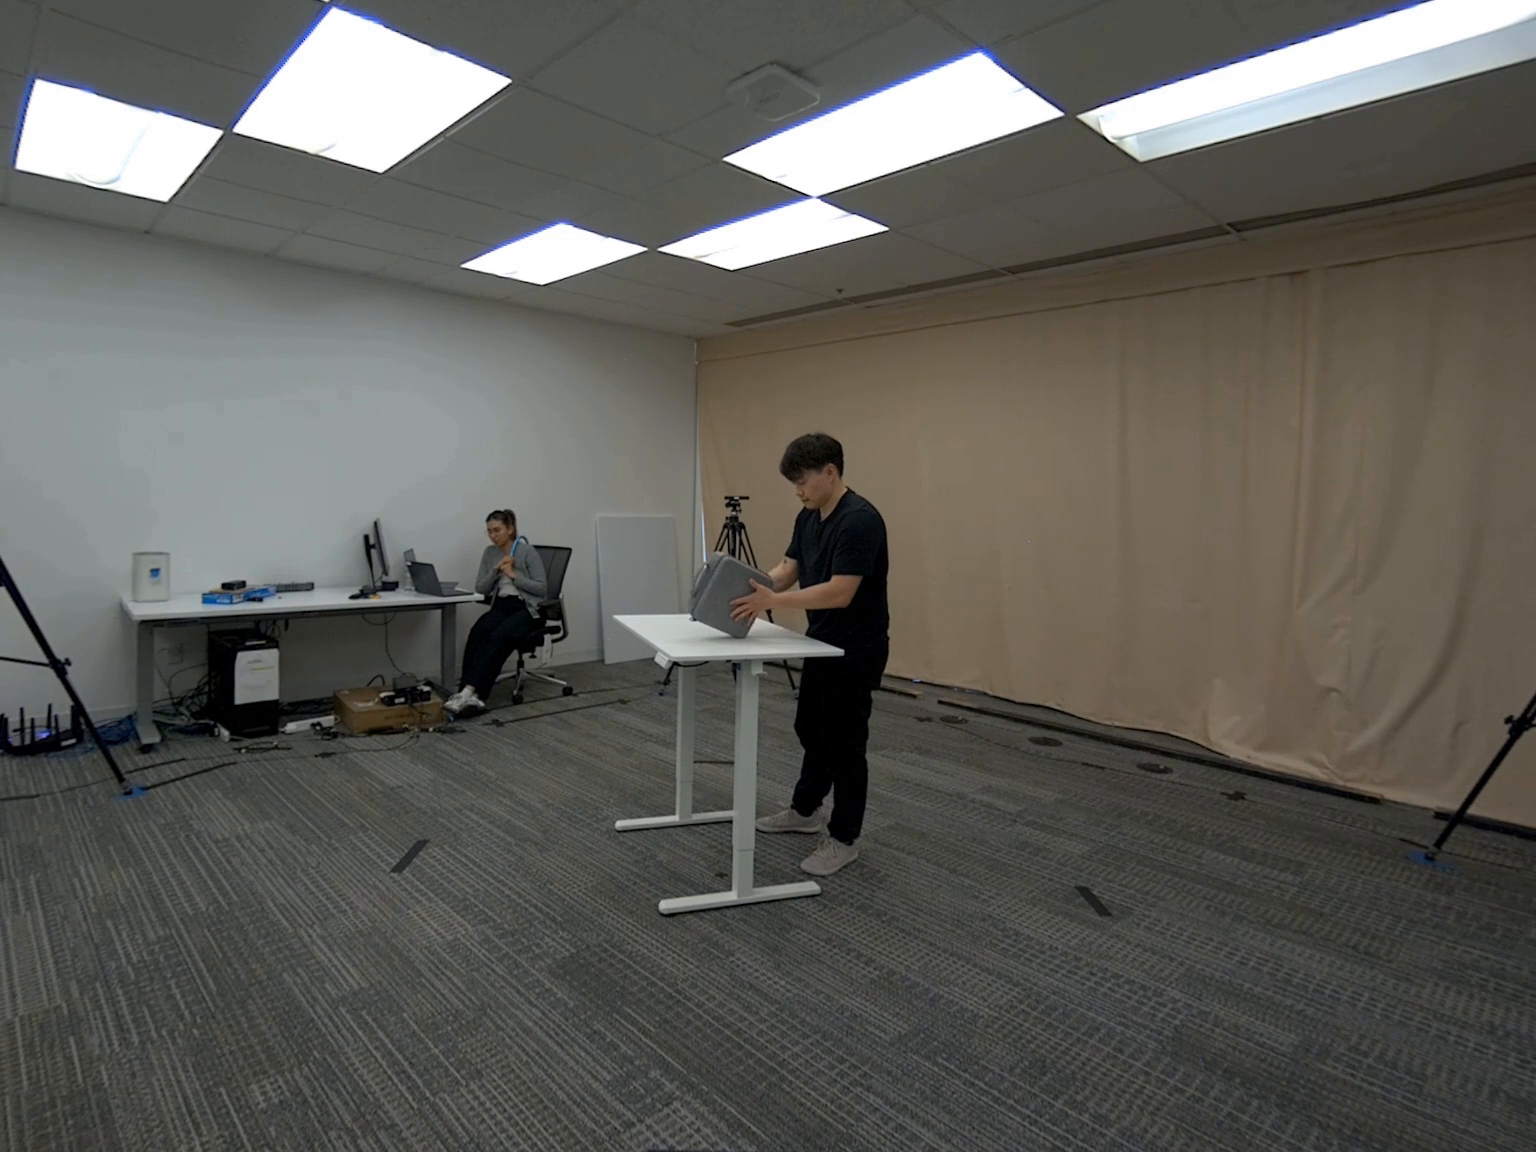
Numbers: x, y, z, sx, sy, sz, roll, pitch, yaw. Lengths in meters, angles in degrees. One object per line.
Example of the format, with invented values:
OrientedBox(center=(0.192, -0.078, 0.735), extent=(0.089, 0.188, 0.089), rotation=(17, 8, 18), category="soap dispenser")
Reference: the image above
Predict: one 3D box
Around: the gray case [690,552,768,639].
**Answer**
OrientedBox(center=(-0.142, 0.071, 3.017), extent=(0.253, 0.257, 0.107), rotation=(27, 0, -31), category="gray case")
